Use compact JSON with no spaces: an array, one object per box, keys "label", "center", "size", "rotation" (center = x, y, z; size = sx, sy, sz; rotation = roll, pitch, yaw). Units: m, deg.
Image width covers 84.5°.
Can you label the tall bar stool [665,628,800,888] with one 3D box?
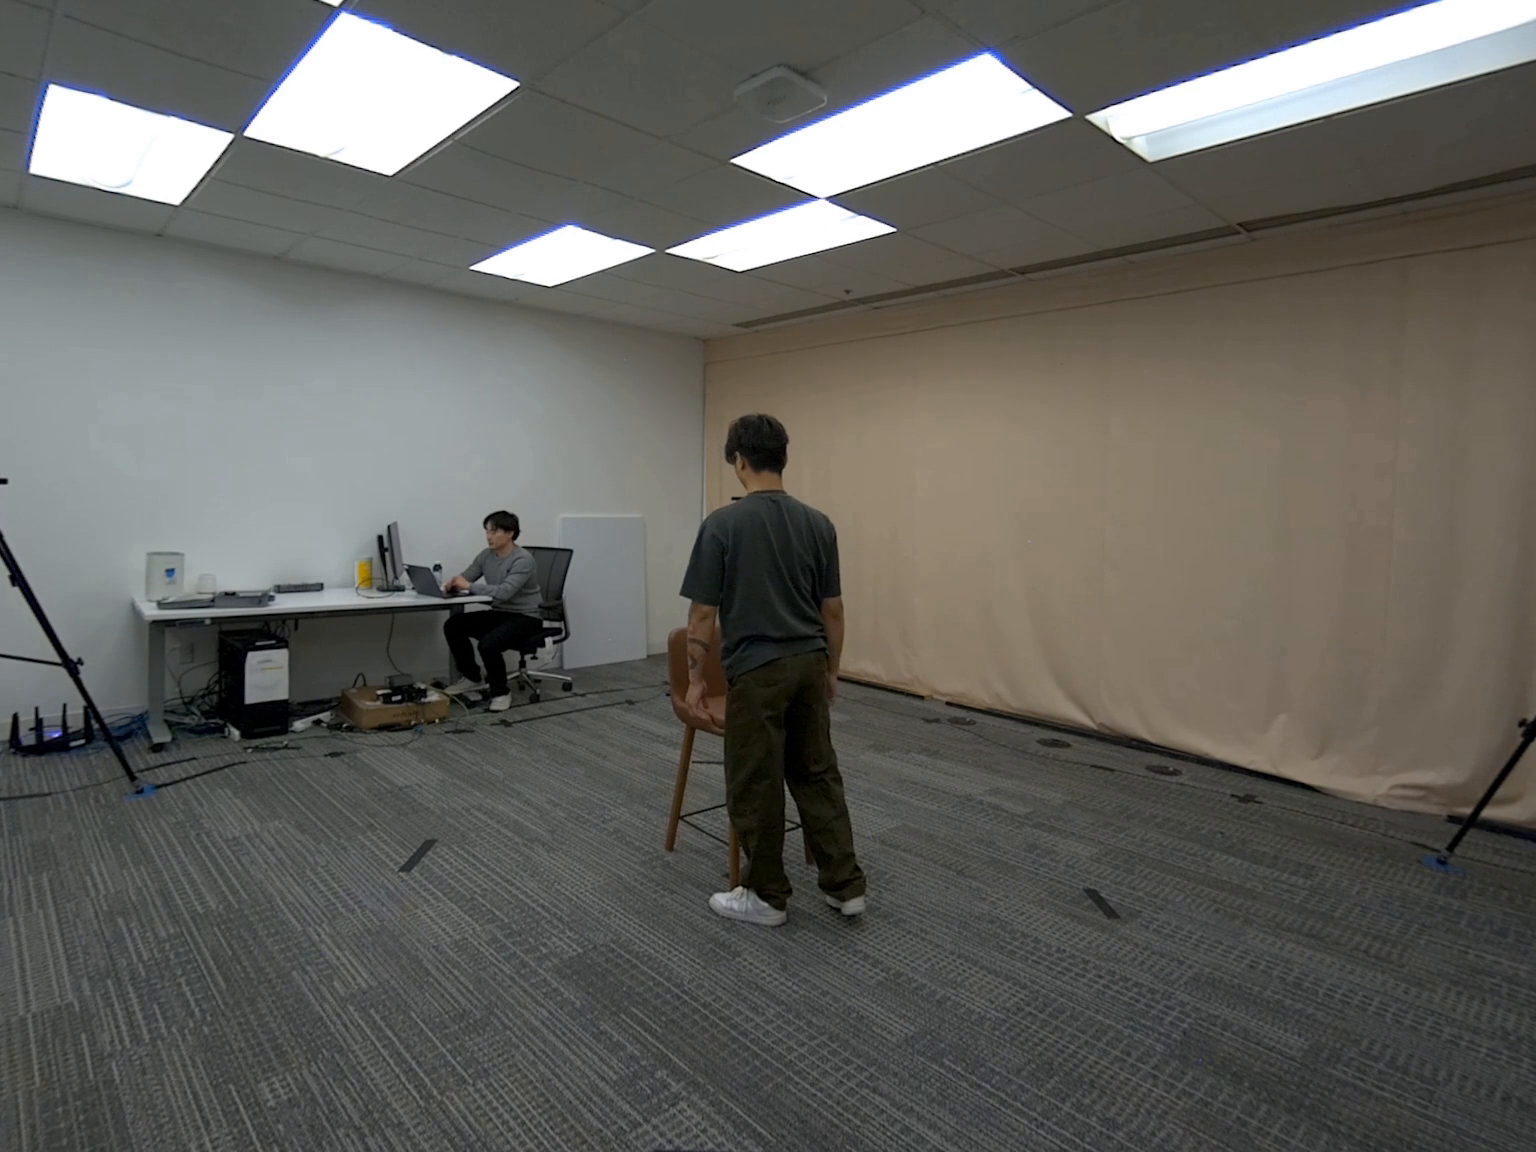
[{"label":"tall bar stool","center":[-0.120,0.662,3.251],"size":[0.446,0.889,0.479],"rotation":[-2,2,-41]}]
